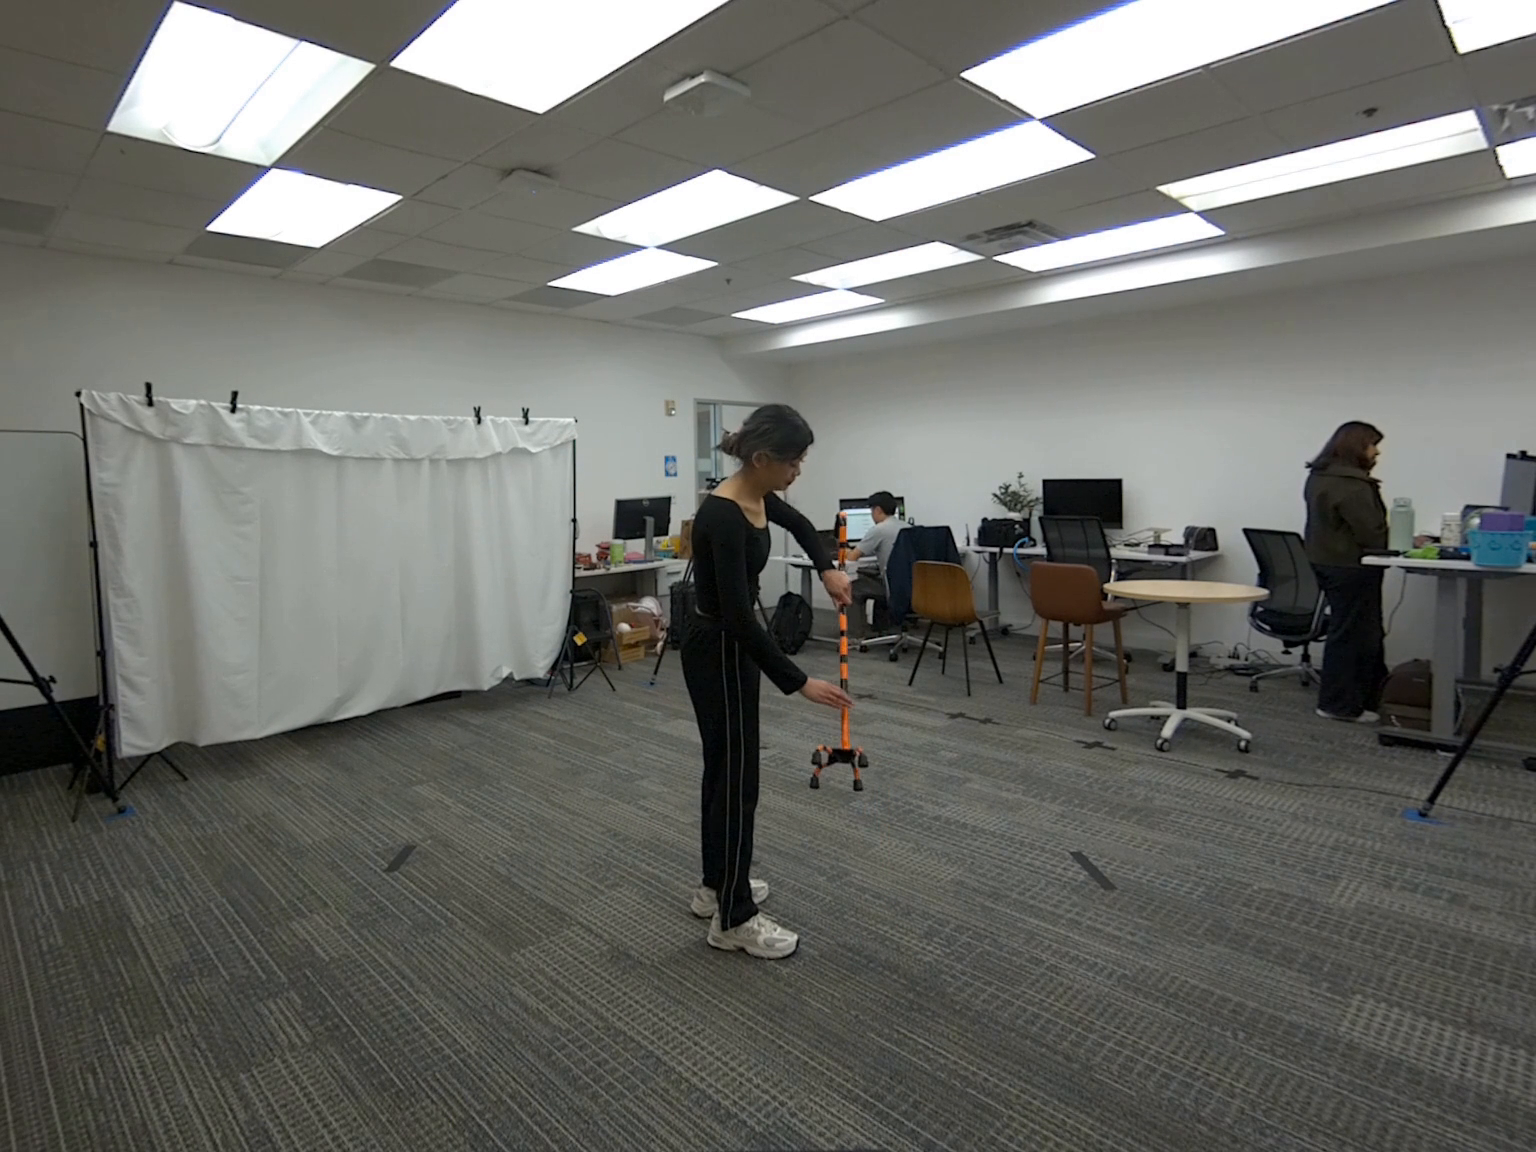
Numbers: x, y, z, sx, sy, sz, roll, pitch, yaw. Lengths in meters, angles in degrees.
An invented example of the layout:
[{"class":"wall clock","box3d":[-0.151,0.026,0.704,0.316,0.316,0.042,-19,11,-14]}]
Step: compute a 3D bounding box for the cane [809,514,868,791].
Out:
[{"class":"cane","box3d":[0.218,0.181,2.599,0.152,0.929,0.200,0,-34,4]}]
